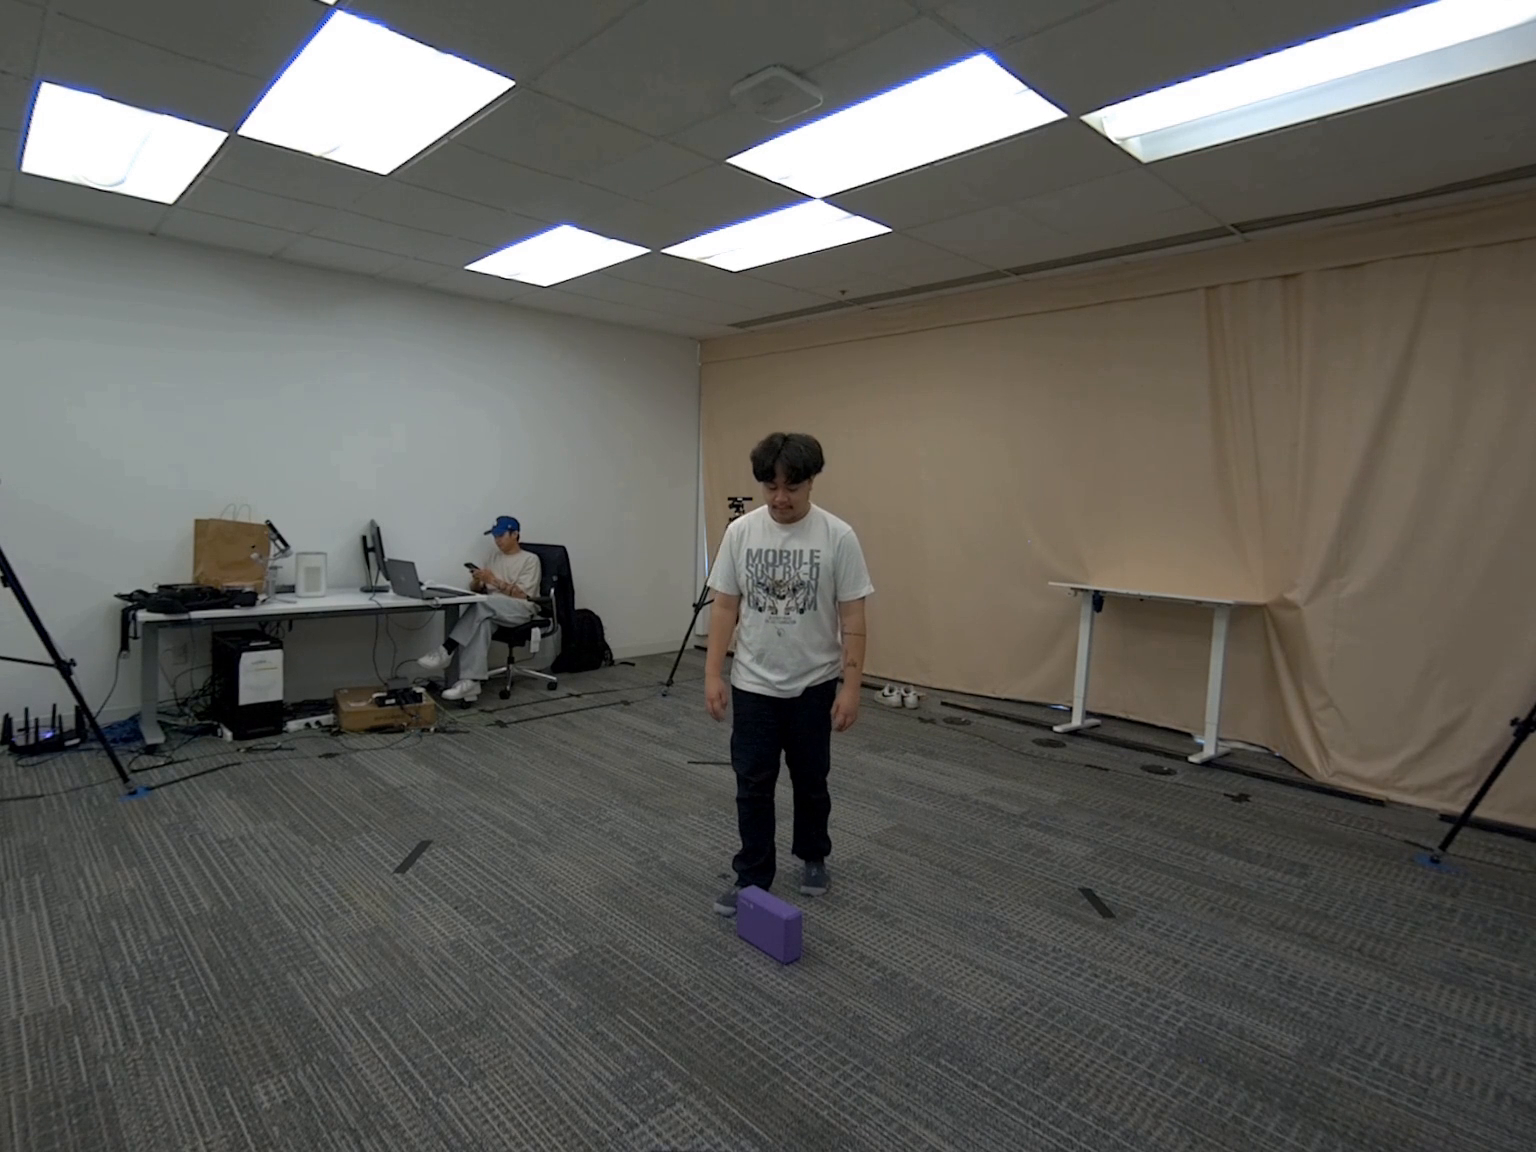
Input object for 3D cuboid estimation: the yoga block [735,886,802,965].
[{"bbox_3d":[-0.007,1.081,2.611,0.075,0.148,0.235,-2,7,-41],"label":"yoga block"}]
